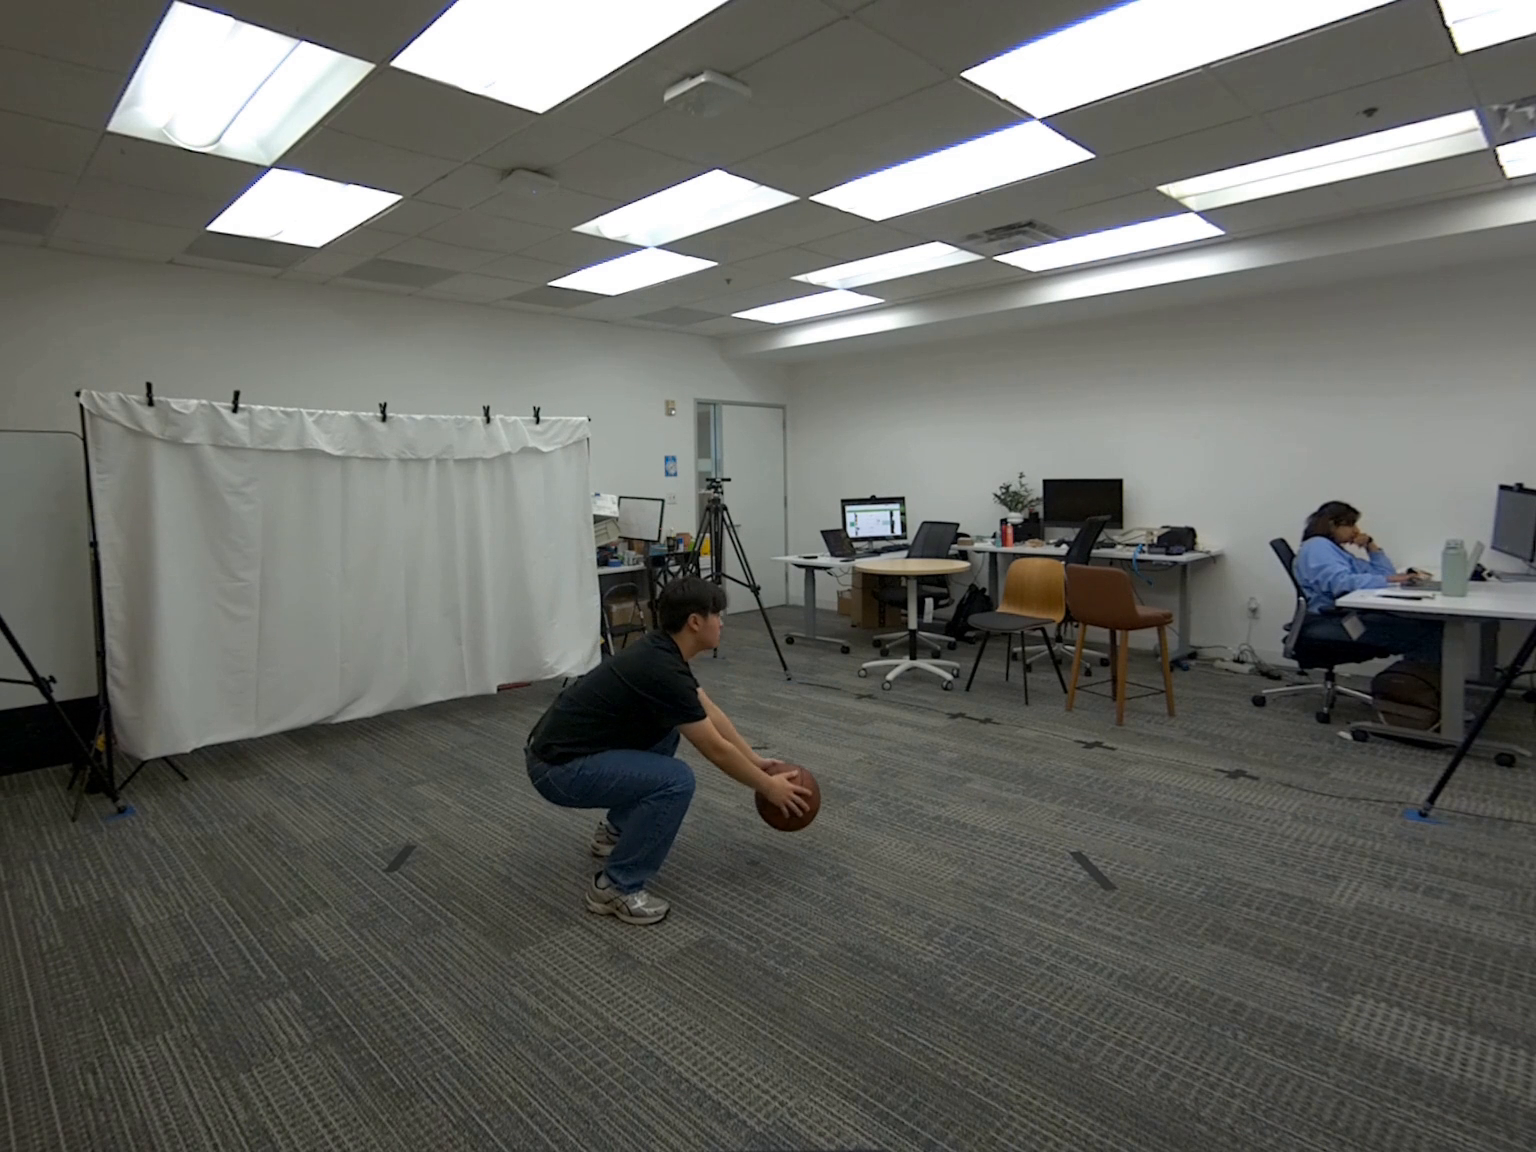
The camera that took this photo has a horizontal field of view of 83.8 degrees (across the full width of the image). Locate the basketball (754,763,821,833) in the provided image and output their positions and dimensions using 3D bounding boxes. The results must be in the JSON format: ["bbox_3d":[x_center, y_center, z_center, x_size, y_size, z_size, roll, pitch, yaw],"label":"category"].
[{"bbox_3d":[0.070,0.787,3.090,0.236,0.235,0.237,-1,5,-2],"label":"basketball"}]
